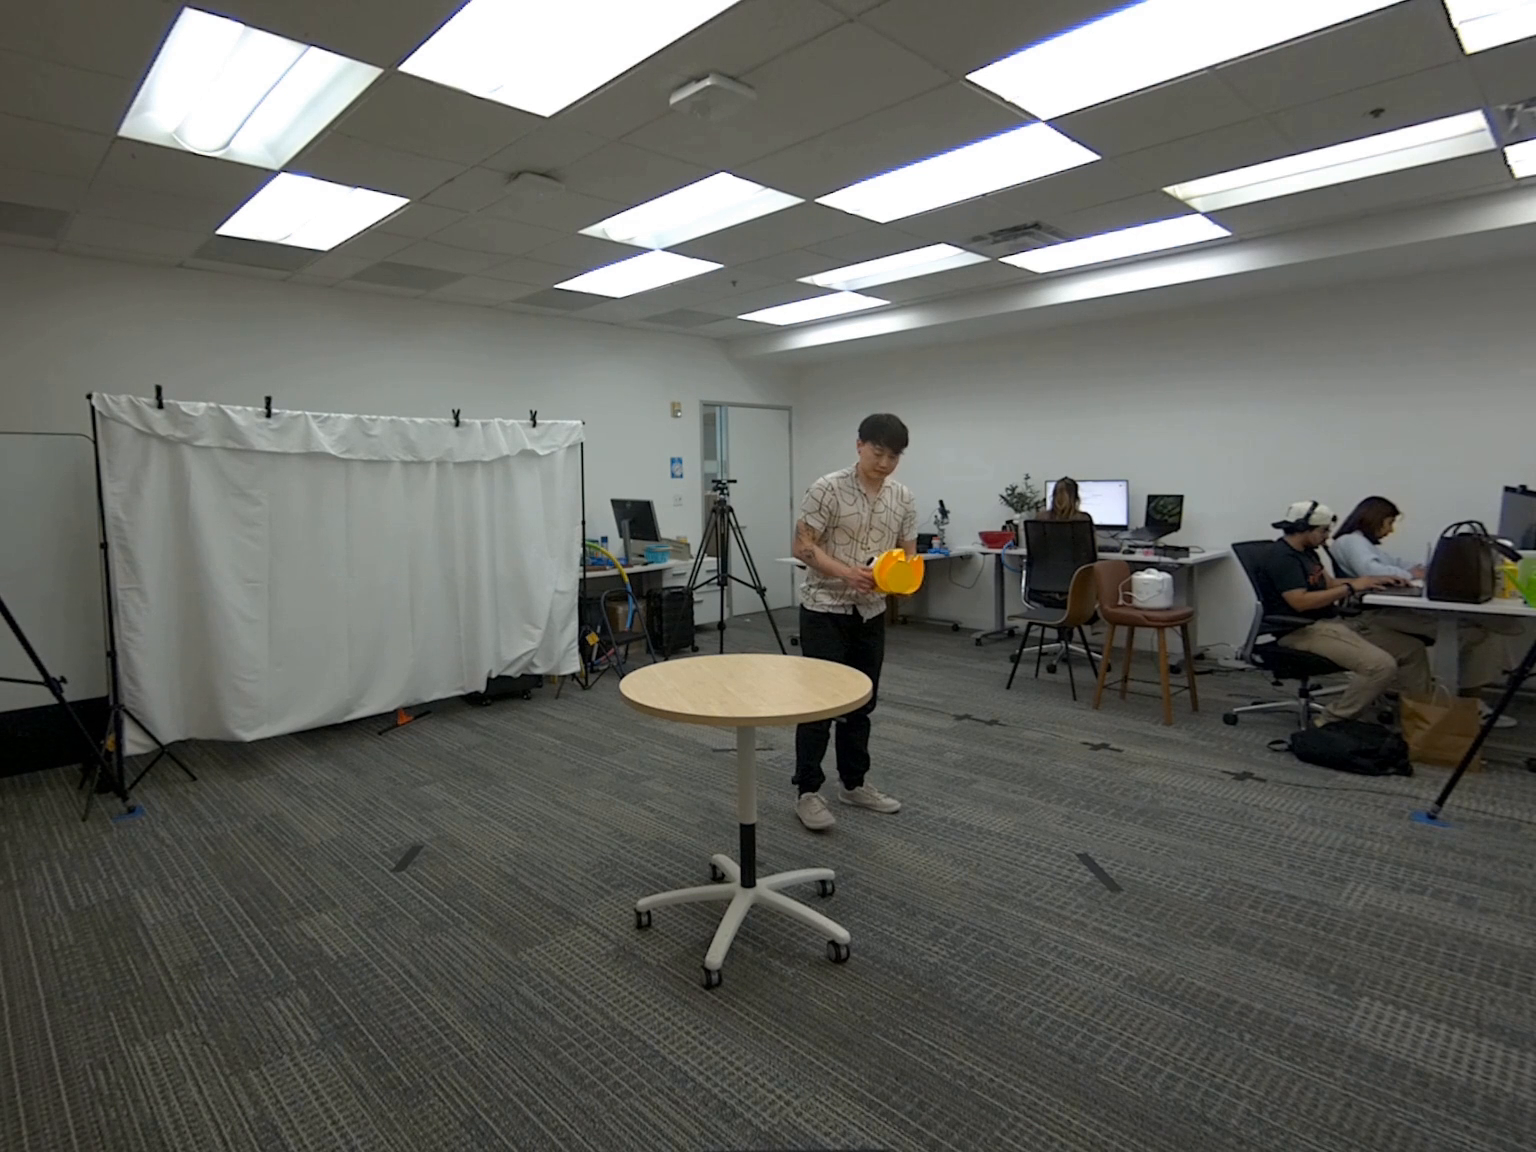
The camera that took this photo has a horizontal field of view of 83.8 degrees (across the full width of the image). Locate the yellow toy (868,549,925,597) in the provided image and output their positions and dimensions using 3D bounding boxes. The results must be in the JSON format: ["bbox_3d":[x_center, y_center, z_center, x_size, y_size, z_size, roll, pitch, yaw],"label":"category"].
[{"bbox_3d":[0.459,-0.033,3.358,0.200,0.192,0.237,9,10,-21],"label":"yellow toy"}]
